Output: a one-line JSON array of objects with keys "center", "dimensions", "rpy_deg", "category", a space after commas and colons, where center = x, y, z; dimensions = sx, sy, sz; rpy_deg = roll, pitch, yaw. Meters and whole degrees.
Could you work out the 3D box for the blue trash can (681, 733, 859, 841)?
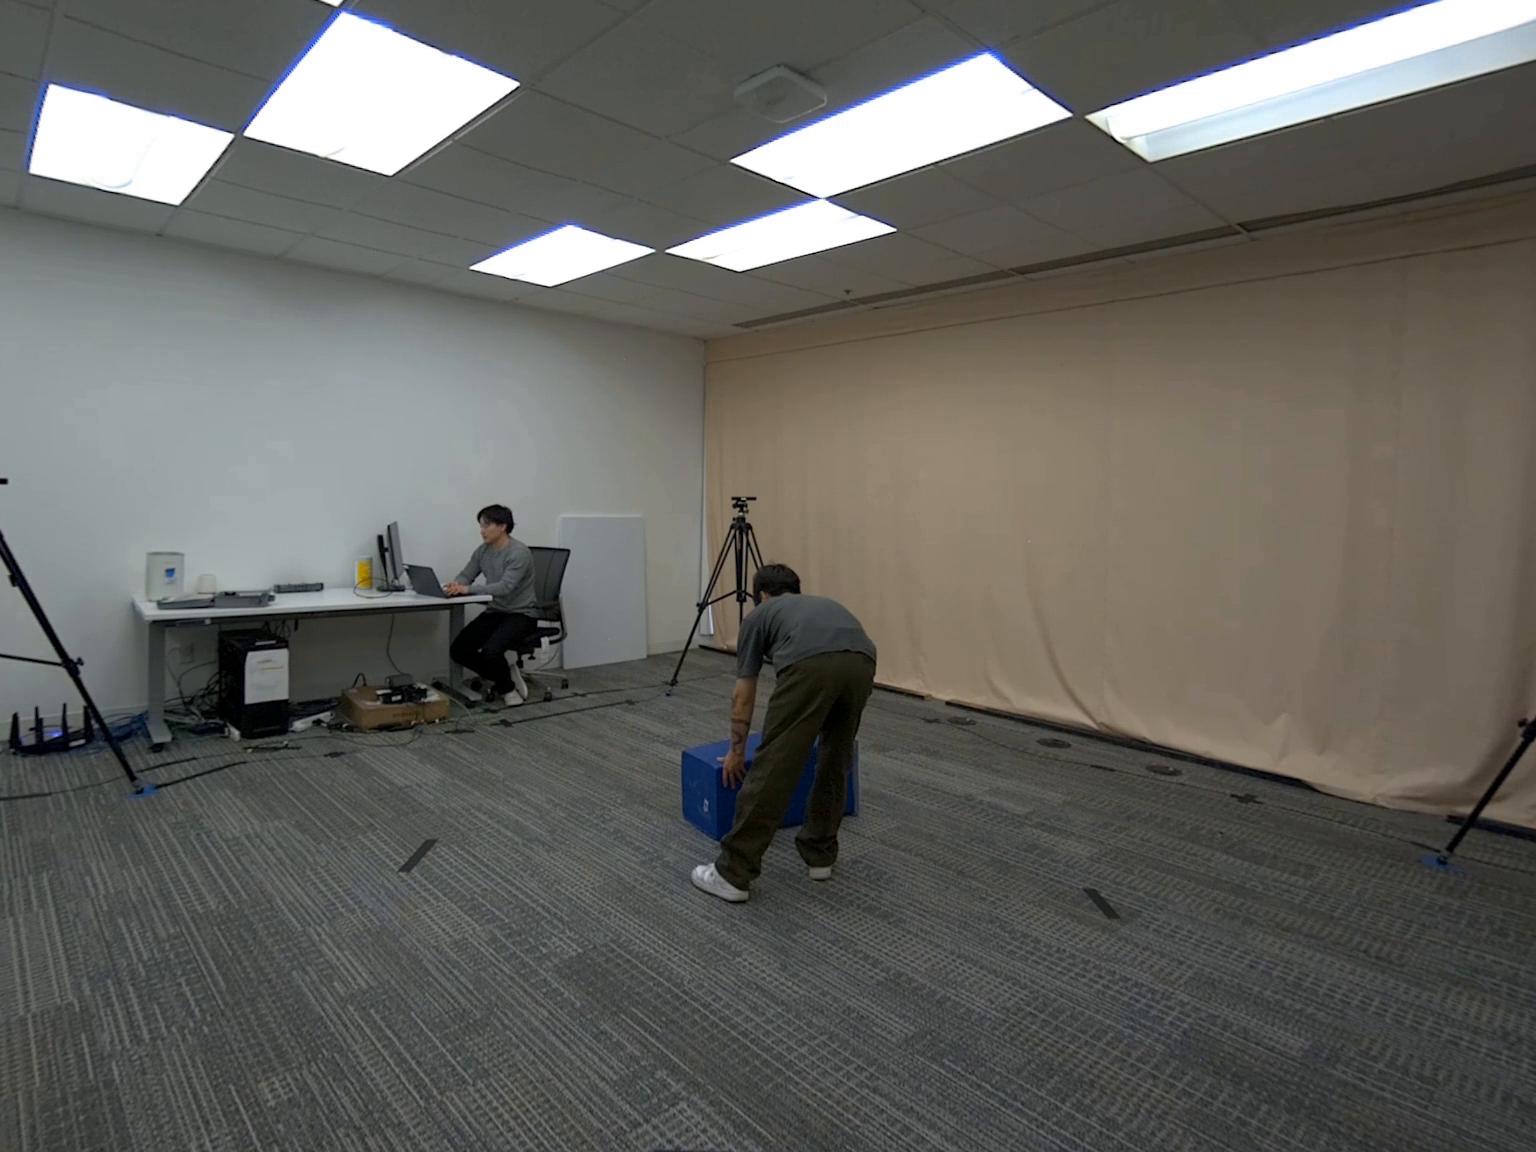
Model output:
[{"center": [0.002, 0.887, 3.702], "dimensions": [0.699, 0.373, 0.387], "rpy_deg": [-3, 5, -32], "category": "blue trash can"}]
